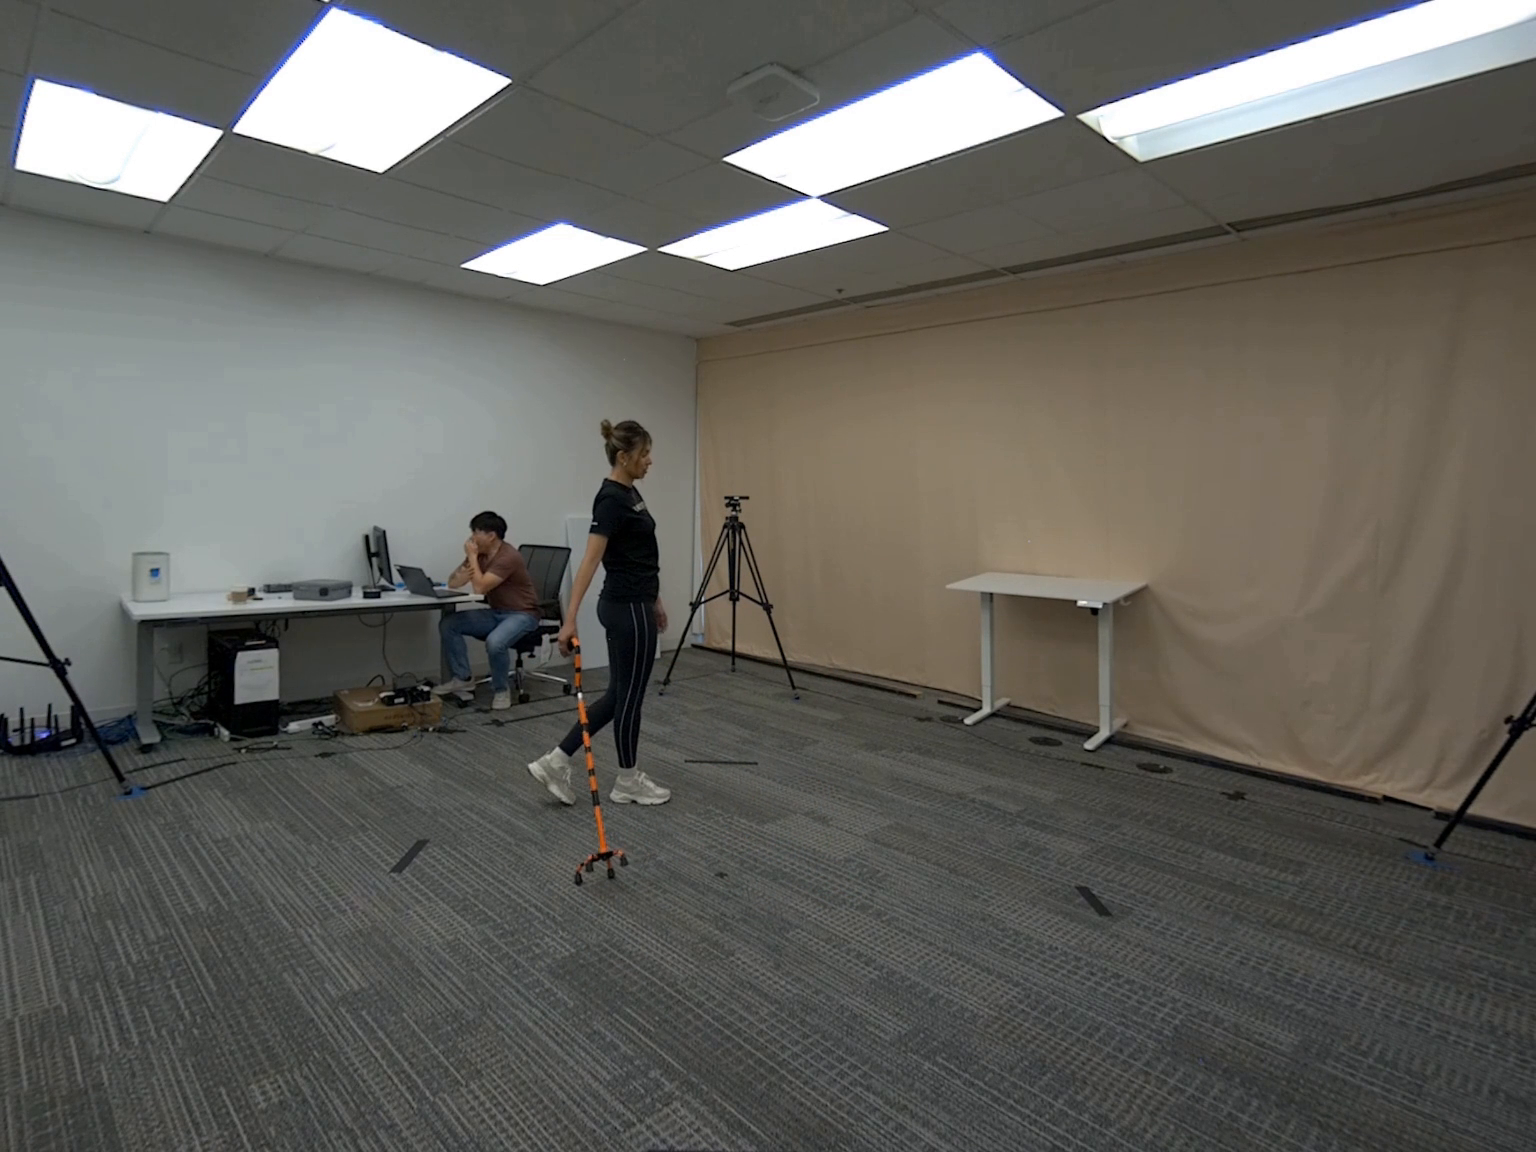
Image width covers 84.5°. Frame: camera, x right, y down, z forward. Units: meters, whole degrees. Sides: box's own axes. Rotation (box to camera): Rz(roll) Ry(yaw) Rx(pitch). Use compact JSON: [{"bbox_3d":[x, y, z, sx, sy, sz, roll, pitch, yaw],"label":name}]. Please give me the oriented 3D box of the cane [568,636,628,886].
[{"bbox_3d":[-0.698,0.659,3.173,0.149,0.928,0.206,0,-31,-27],"label":"cane"}]
